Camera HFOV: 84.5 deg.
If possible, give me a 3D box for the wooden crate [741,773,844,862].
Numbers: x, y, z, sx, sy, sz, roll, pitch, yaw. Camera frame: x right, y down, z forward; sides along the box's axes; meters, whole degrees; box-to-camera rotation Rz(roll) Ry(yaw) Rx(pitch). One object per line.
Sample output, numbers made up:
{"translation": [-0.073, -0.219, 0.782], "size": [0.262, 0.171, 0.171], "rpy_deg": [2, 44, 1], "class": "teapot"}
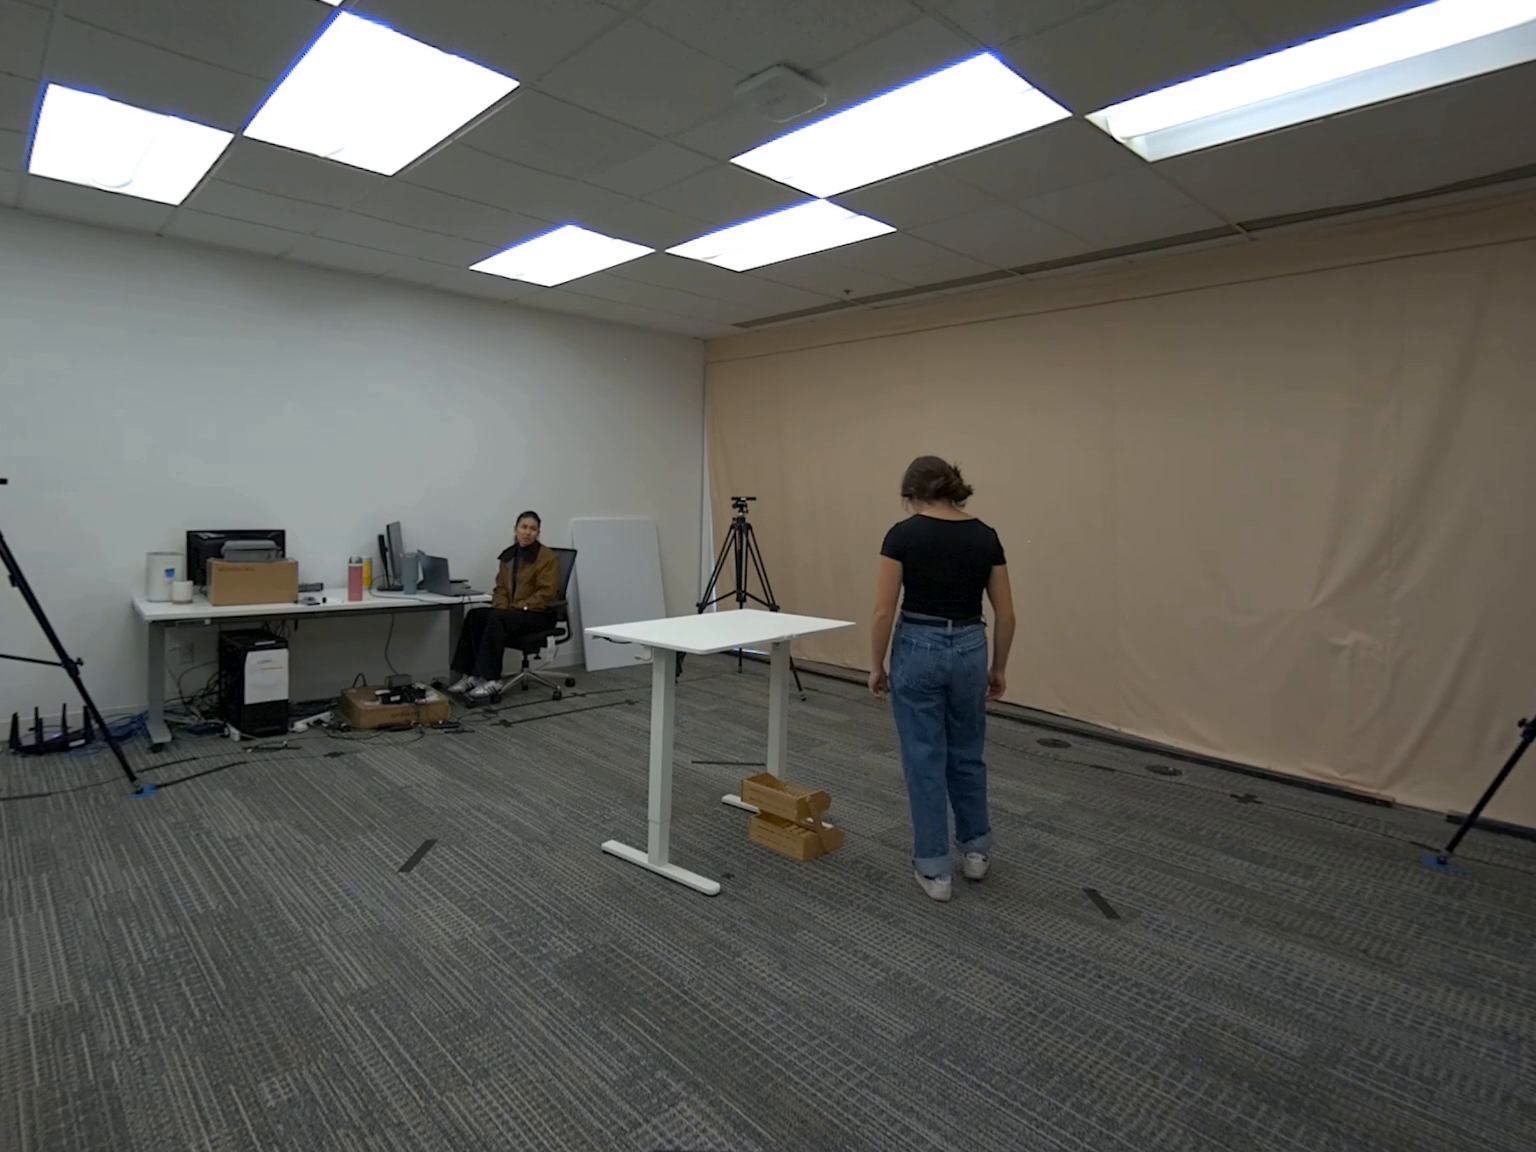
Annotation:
{"translation": [0.097, 0.950, 3.410], "size": [0.333, 0.272, 0.295], "rpy_deg": [6, 6, 43], "class": "wooden crate"}
